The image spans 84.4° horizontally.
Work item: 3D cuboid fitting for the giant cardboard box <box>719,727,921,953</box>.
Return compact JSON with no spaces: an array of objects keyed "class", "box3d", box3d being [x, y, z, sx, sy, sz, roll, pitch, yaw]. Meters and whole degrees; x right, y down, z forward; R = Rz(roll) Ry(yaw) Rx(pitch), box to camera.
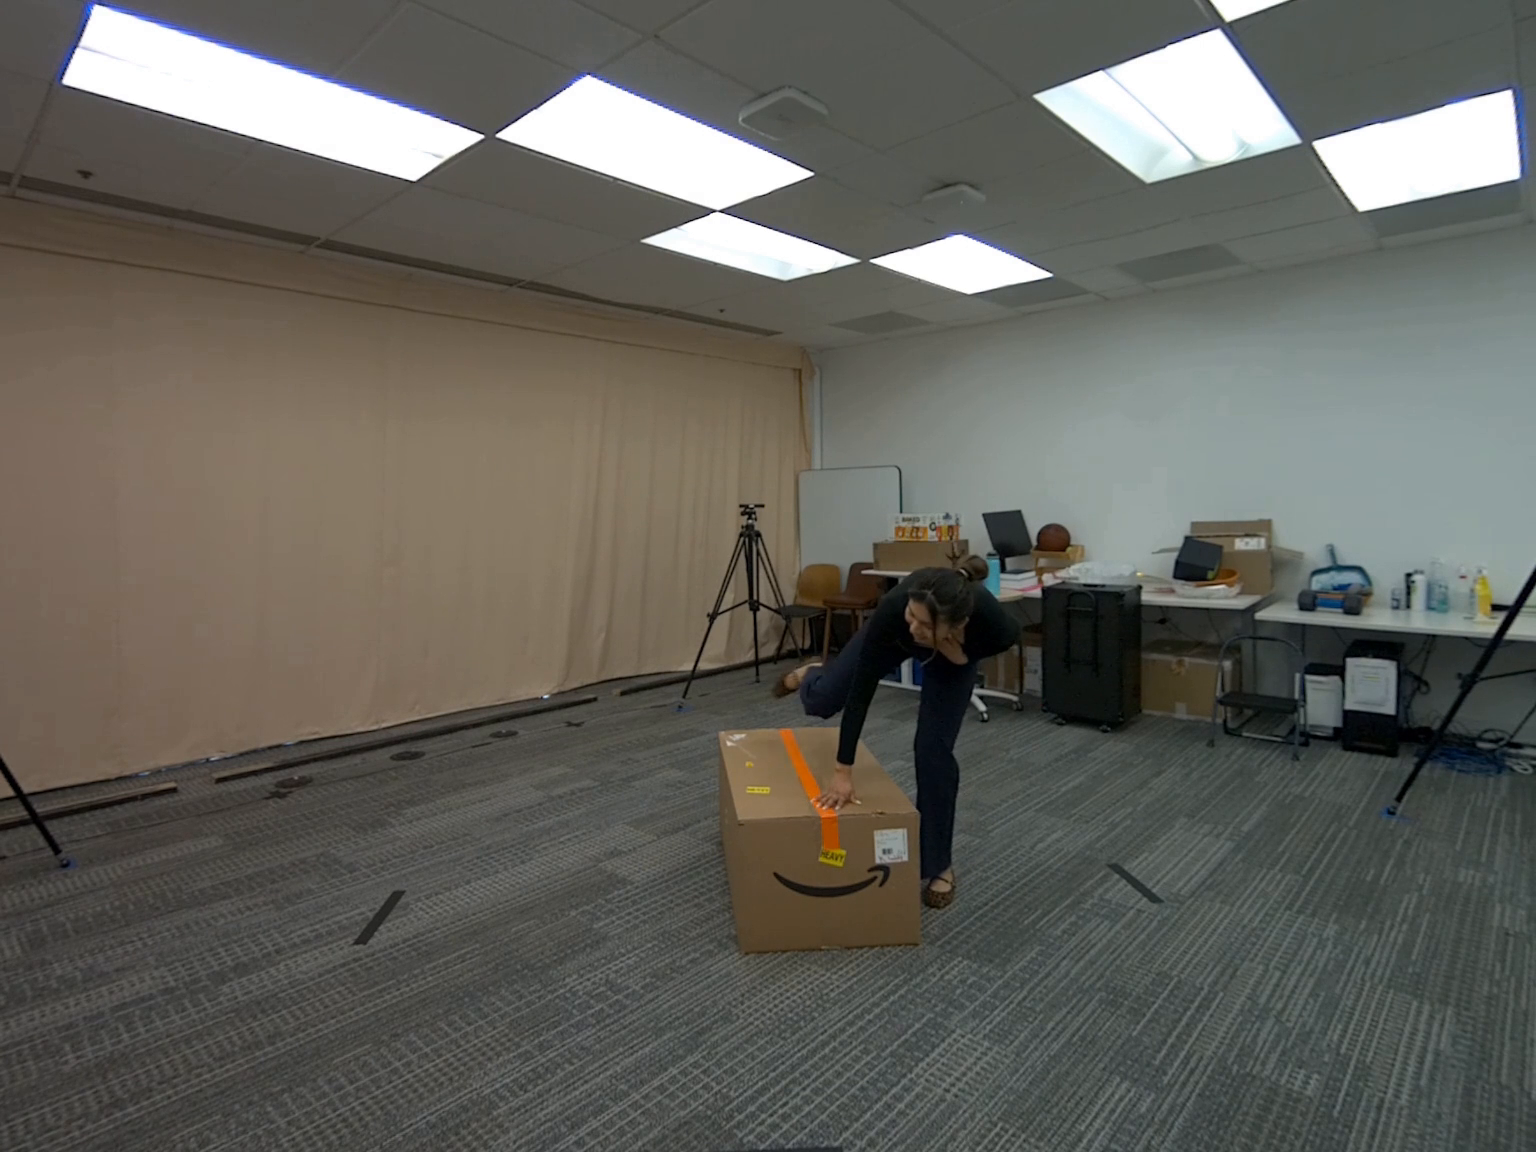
[{"class":"giant cardboard box","box3d":[0.140,0.908,3.125,0.574,0.425,1.034,-2,5,-6]}]
